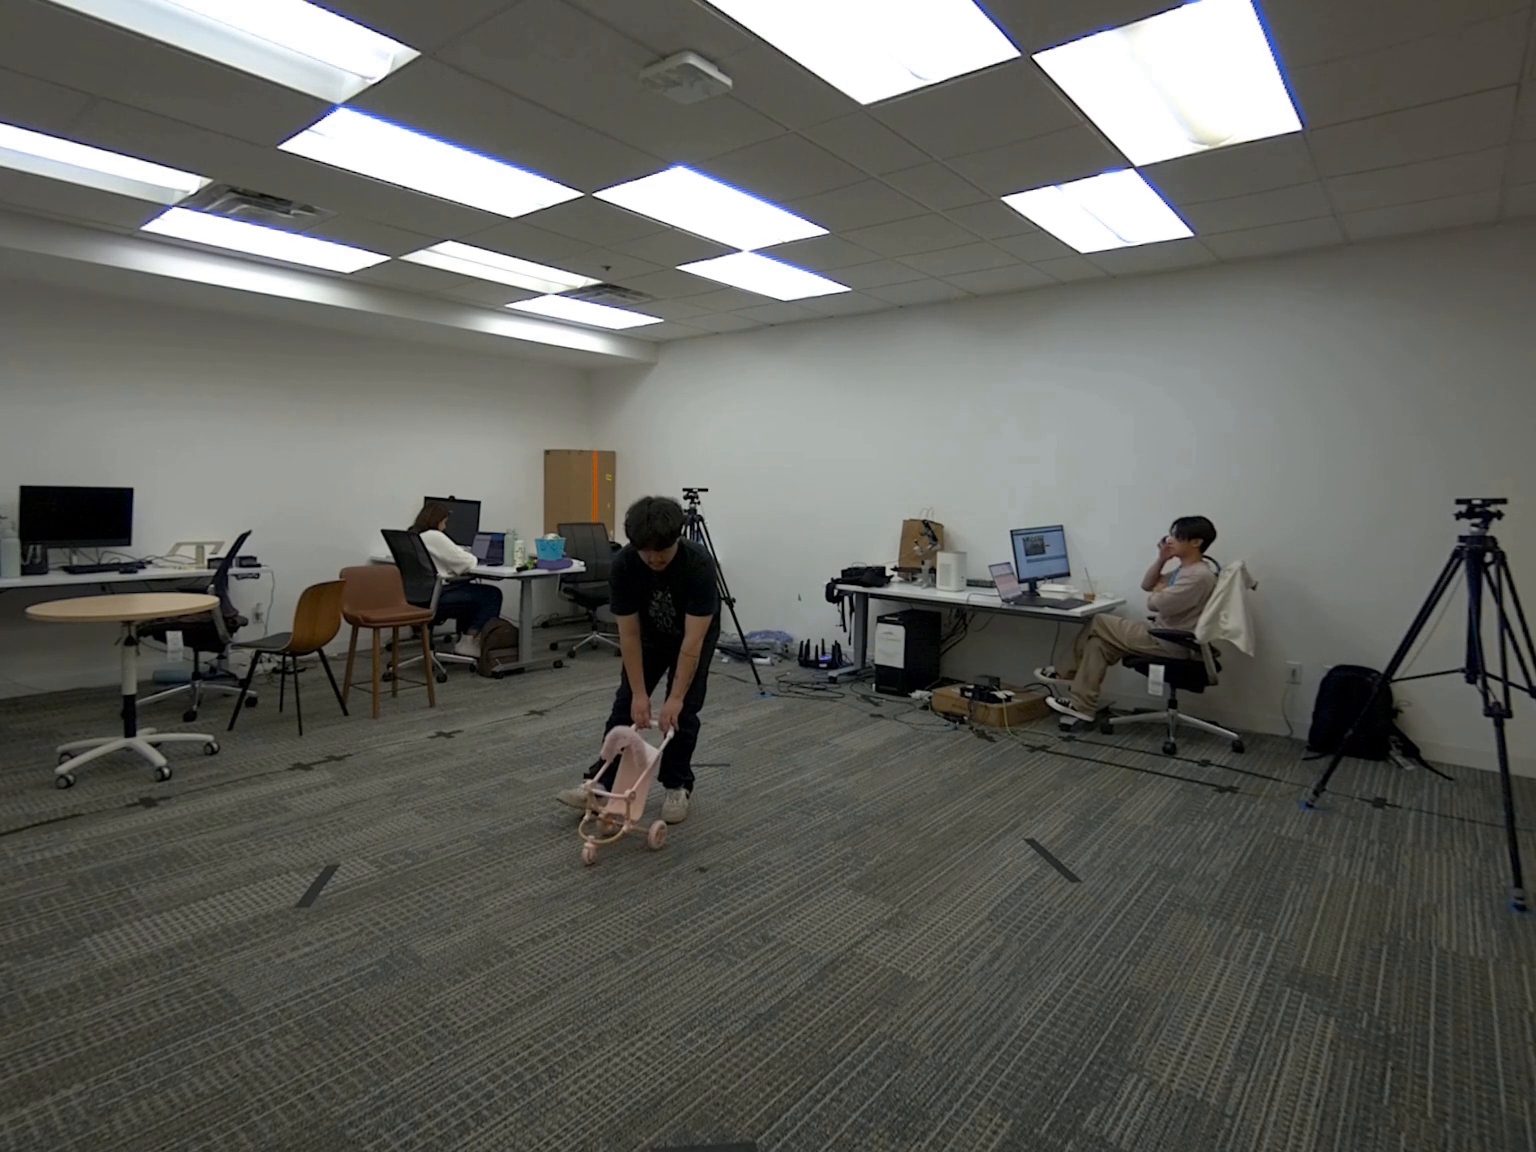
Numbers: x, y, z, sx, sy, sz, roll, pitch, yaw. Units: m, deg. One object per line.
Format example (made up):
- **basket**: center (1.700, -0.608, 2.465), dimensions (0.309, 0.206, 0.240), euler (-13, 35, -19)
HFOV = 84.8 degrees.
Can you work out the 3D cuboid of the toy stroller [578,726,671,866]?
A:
- **toy stroller**: center (-0.575, 0.823, 3.278), dimensions (0.290, 0.538, 0.328), euler (4, -10, 35)
